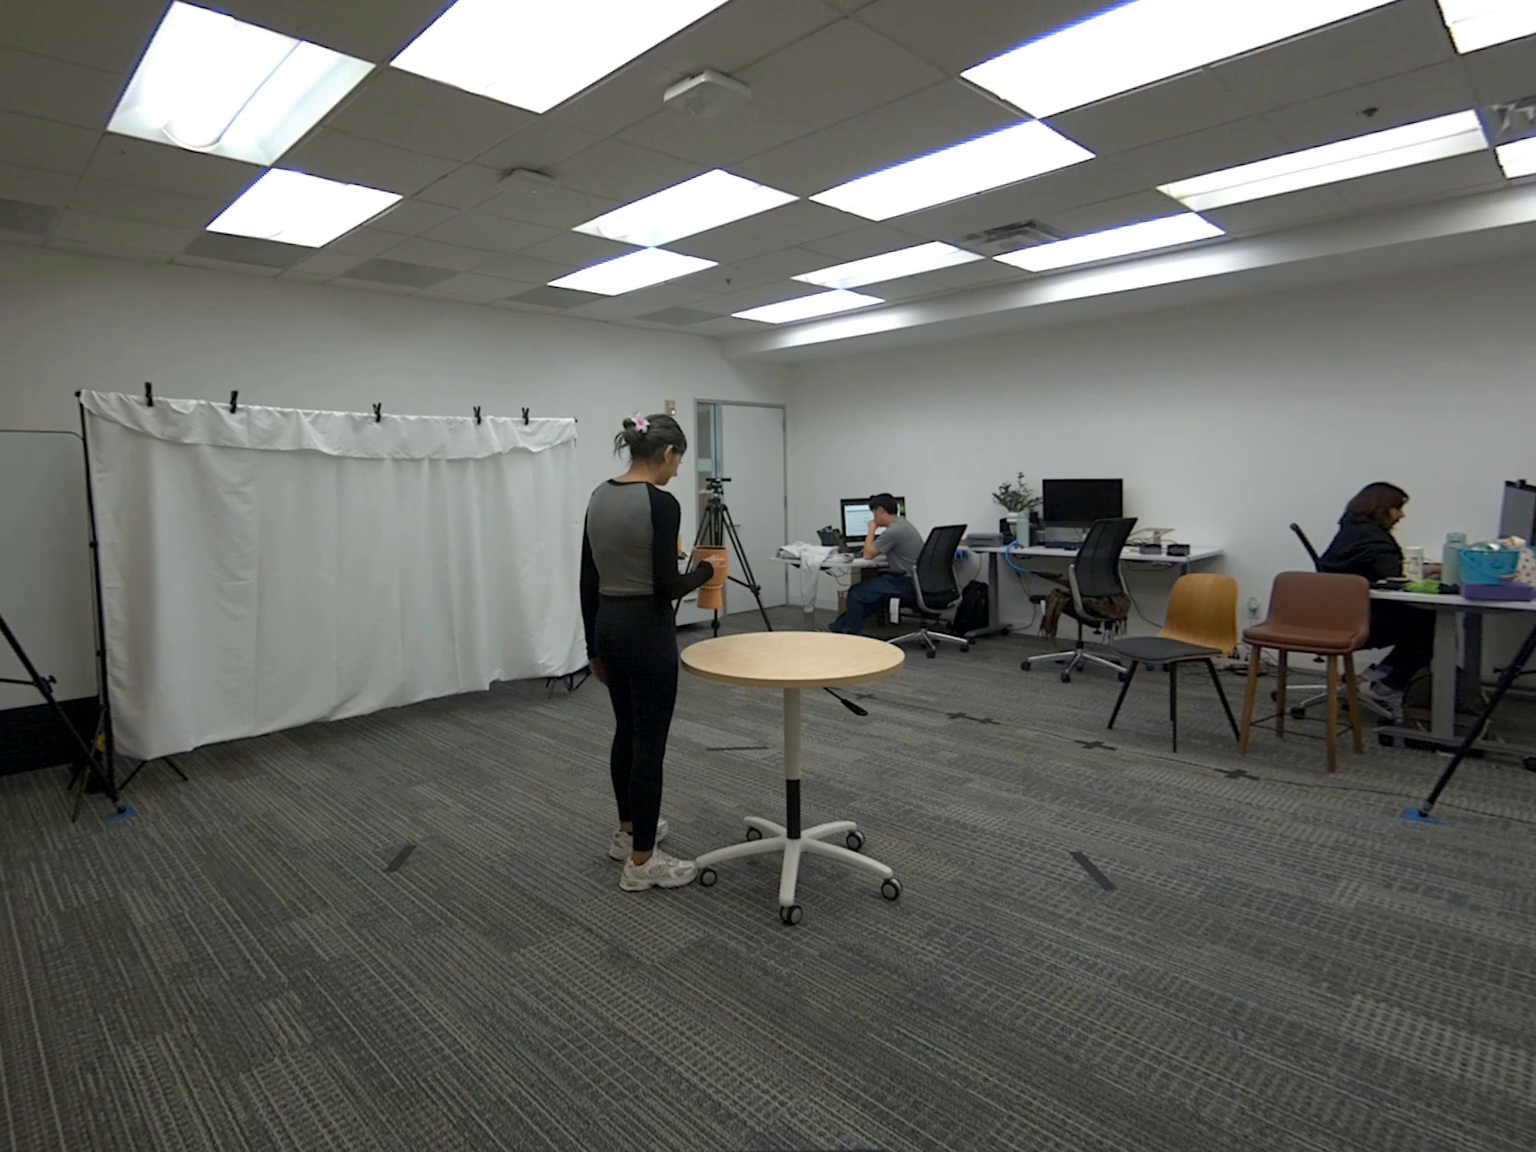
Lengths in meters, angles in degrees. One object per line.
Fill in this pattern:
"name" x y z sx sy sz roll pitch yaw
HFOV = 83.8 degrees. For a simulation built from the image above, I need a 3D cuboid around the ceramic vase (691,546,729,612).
"ceramic vase" -0.213 0.005 3.165 0.138 0.218 0.156 4 8 22
